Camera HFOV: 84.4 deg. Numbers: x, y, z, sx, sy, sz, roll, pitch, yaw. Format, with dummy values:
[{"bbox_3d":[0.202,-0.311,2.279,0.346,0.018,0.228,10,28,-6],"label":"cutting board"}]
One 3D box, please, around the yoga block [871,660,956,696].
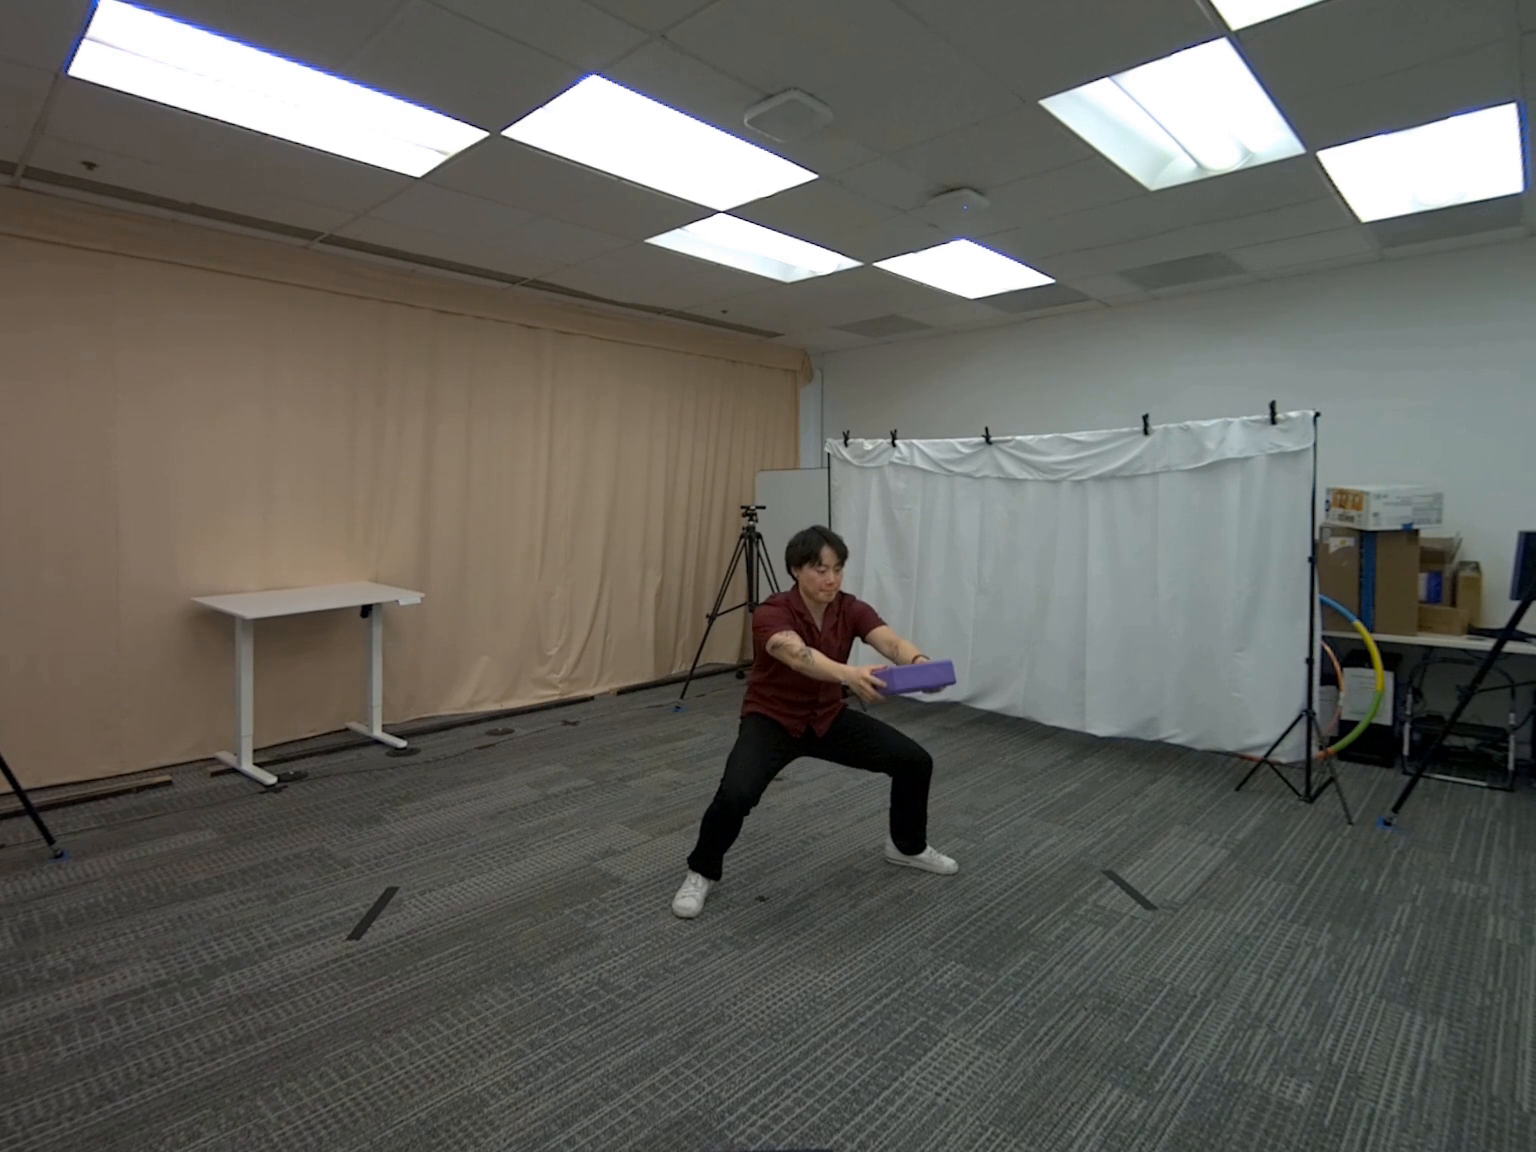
[{"bbox_3d":[0.432,0.292,2.517,0.224,0.077,0.151,-5,-7,-25],"label":"yoga block"}]
